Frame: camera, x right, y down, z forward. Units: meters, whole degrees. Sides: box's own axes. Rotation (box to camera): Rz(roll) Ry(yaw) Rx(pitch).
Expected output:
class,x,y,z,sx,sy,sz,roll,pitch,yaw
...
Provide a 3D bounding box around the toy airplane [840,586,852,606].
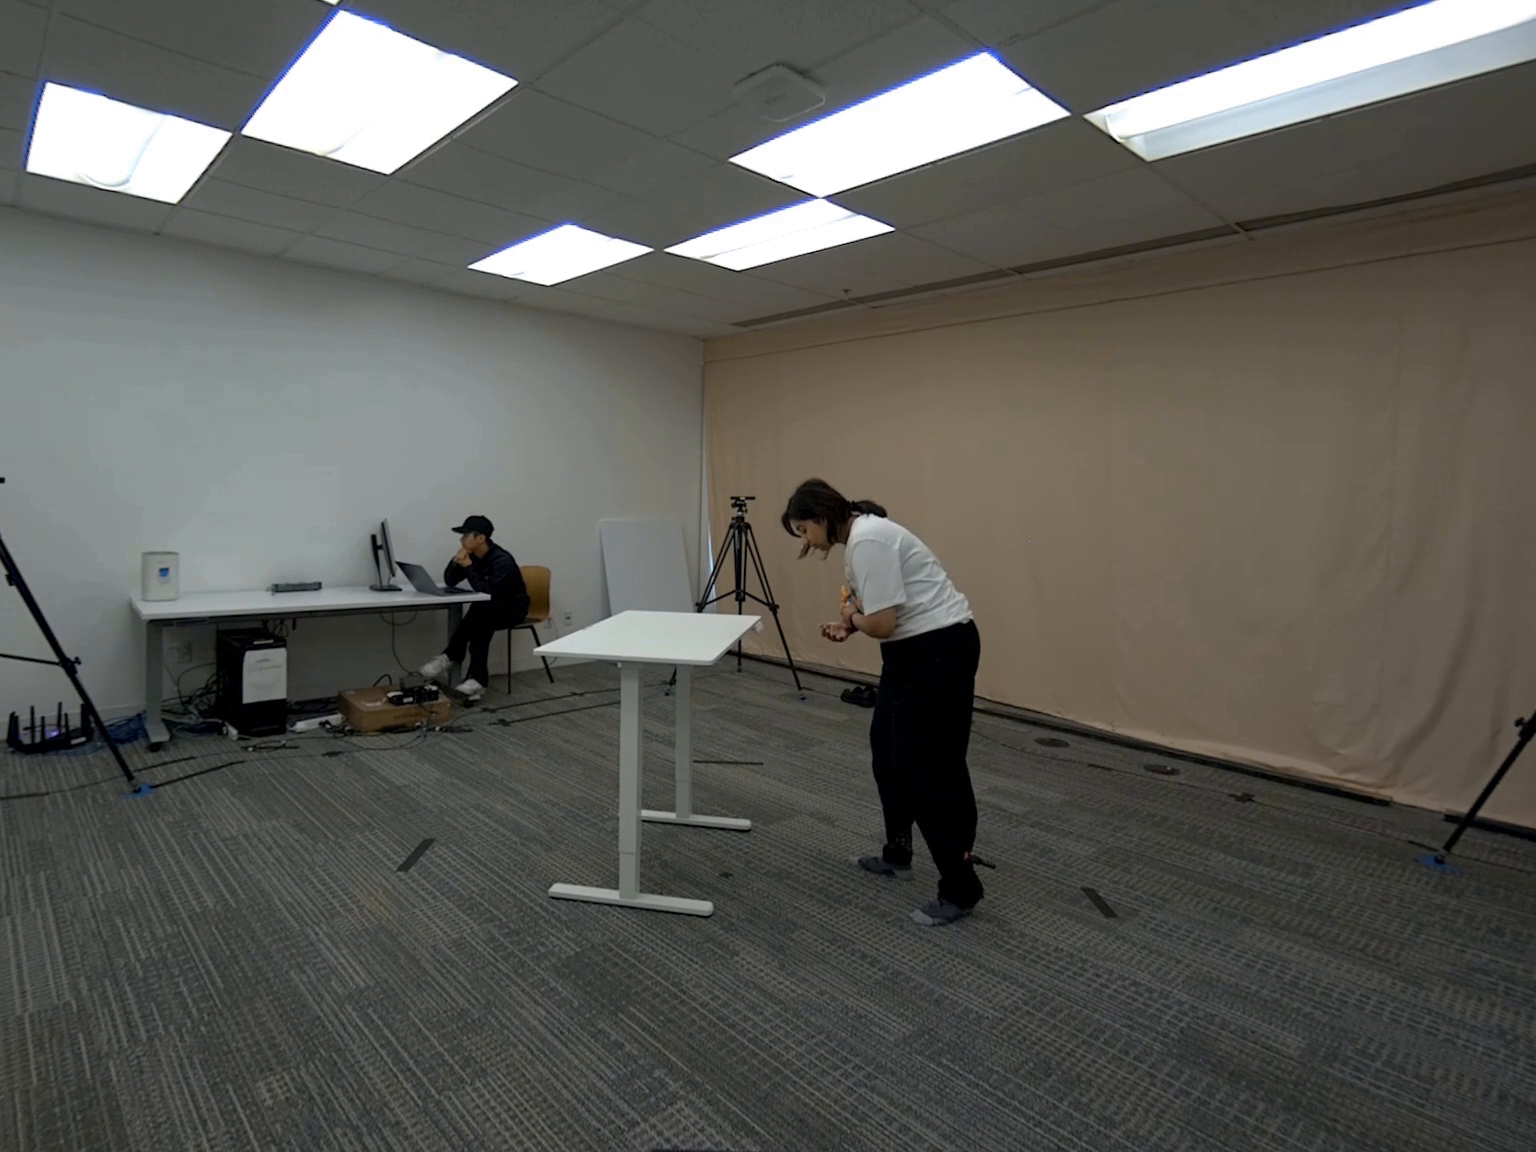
class,x,y,z,sx,sy,sz,roll,pitch,yaw
toy airplane,0.411,0.105,3.227,0.256,0.154,0.258,-18,24,-24
